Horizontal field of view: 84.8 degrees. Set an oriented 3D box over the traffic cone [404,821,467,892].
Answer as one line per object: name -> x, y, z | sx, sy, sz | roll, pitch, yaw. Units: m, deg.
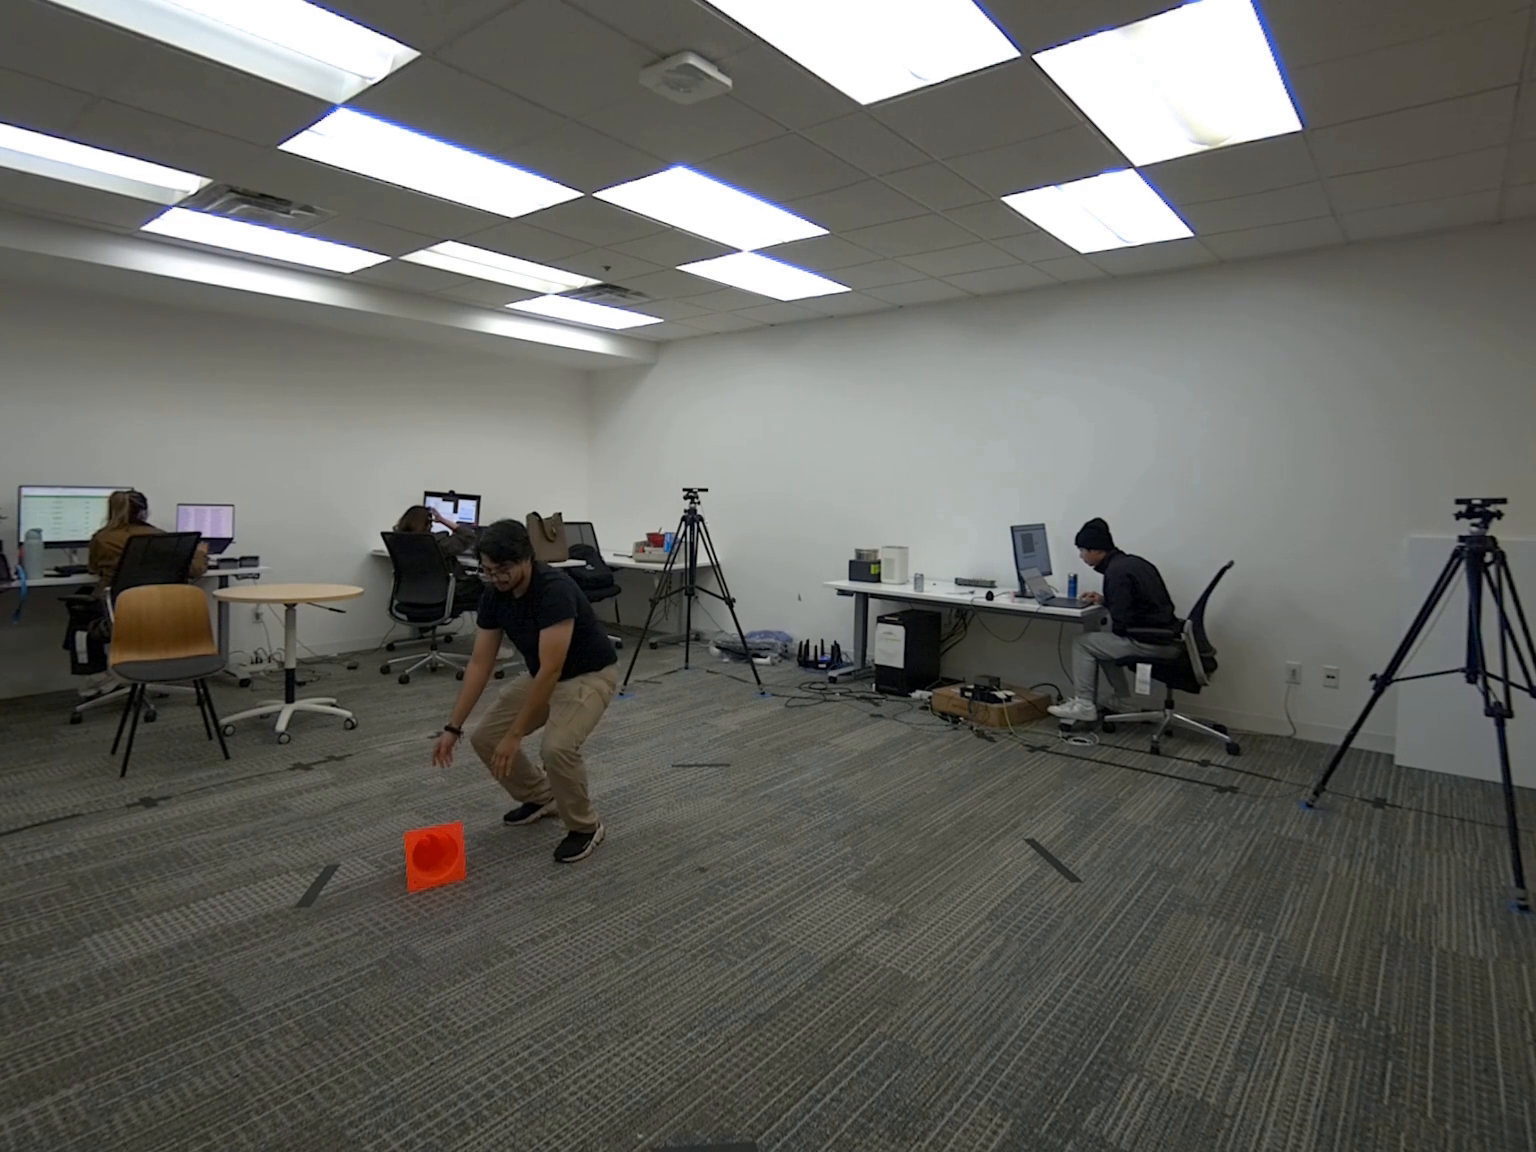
traffic cone -> -1.269, 1.003, 3.124 | 0.199, 0.205, 0.390 | -2, -9, -32
